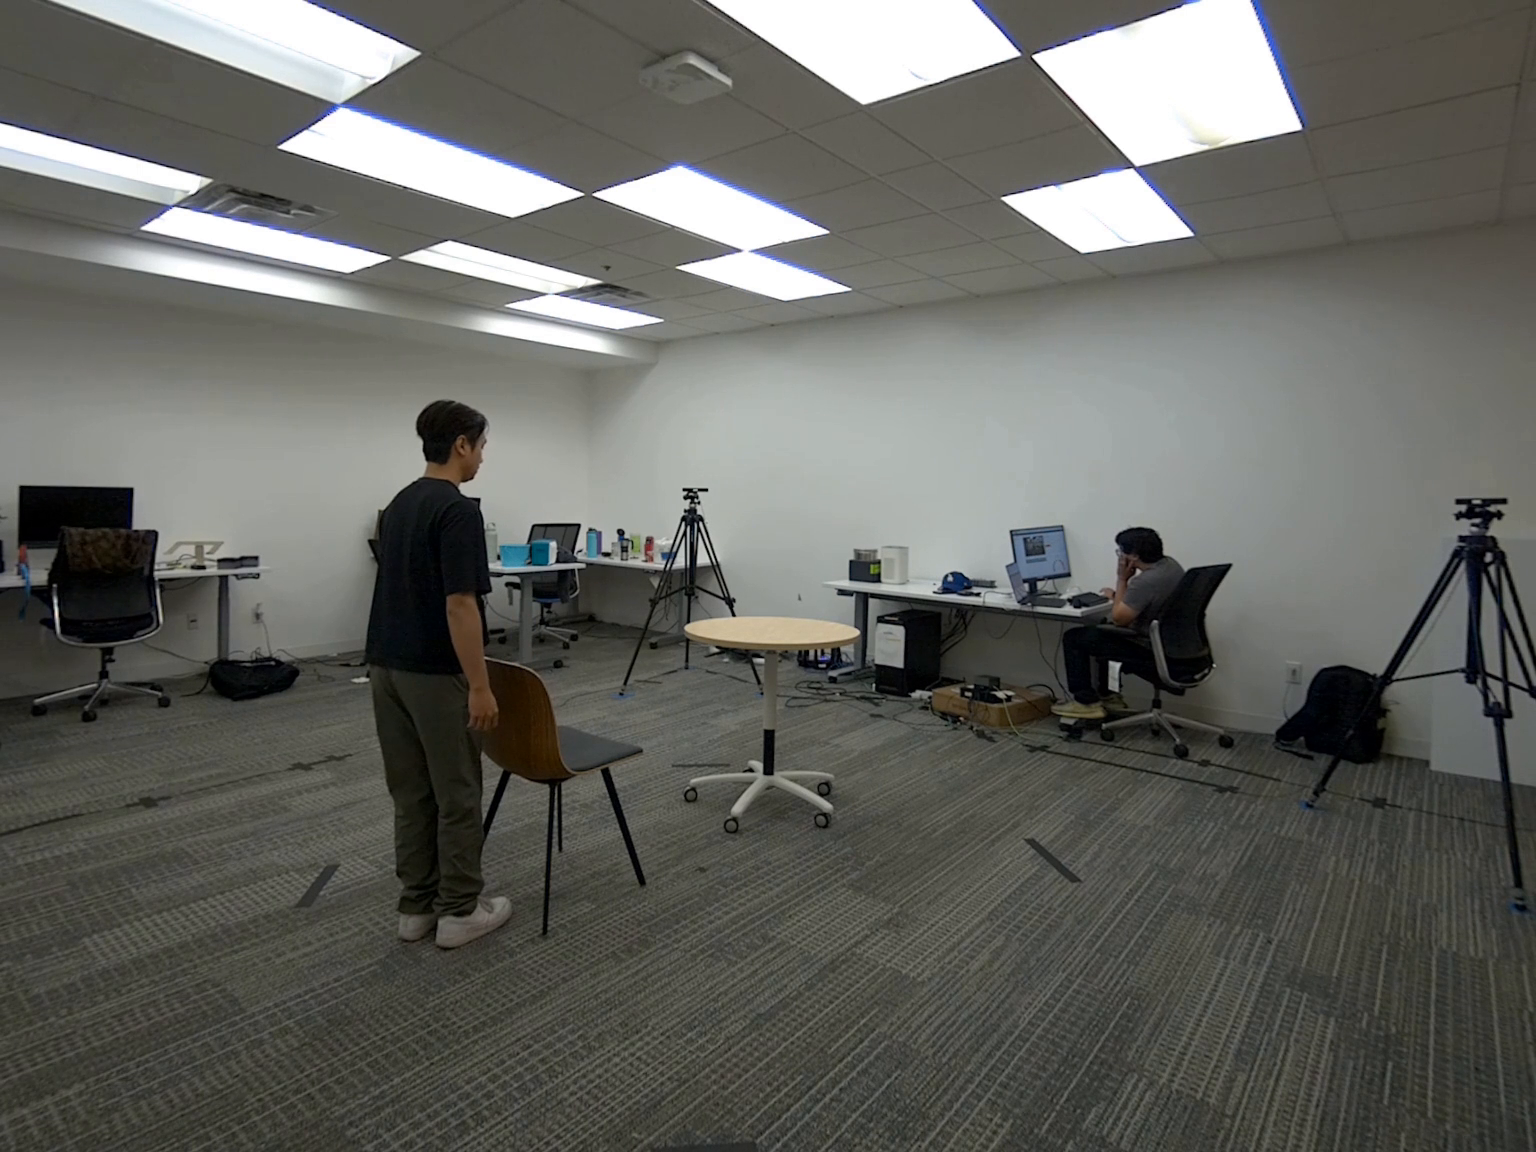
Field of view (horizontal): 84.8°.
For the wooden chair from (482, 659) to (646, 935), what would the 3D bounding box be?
[{"bbox_3d":[-0.738,0.650,2.919,0.493,0.872,0.510,3,8,37],"label":"wooden chair"}]
